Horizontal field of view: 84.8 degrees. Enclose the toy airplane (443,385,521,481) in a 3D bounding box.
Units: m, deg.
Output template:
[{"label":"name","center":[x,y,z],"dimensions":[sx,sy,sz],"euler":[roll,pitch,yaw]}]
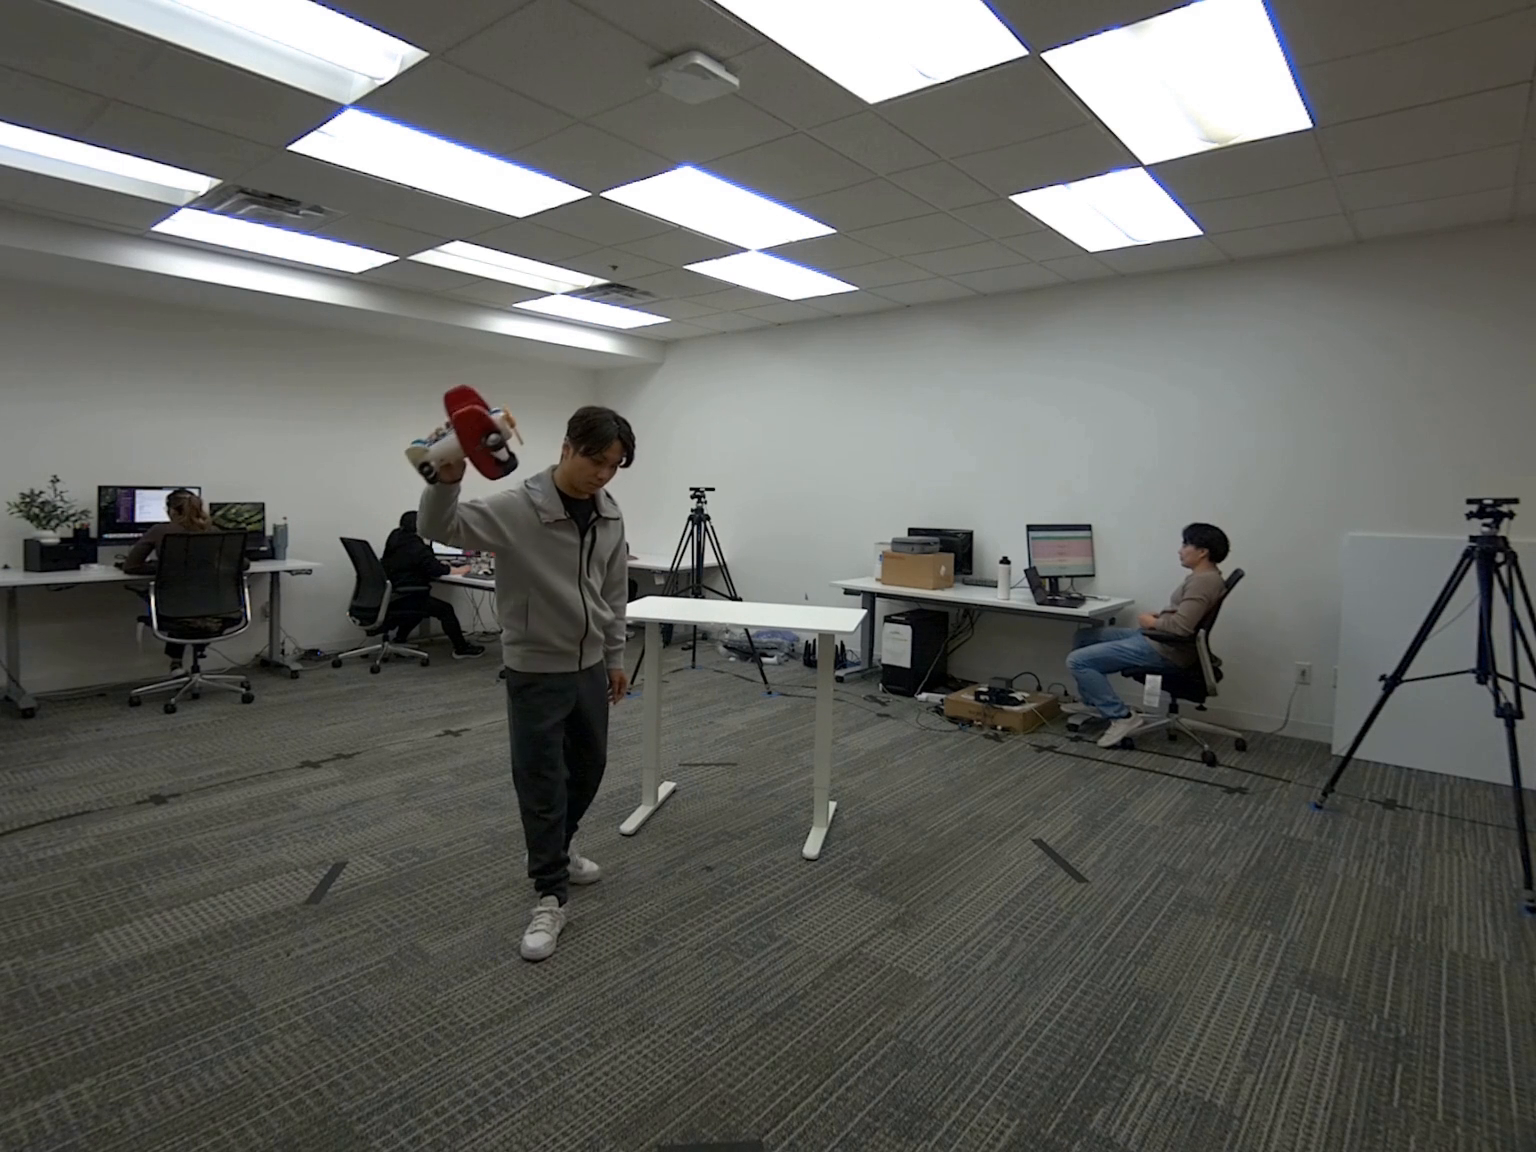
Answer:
[{"label":"toy airplane","center":[-0.746,-0.316,2.031],"dimensions":[0.253,0.161,0.249],"euler":[2,-36,-24]}]
